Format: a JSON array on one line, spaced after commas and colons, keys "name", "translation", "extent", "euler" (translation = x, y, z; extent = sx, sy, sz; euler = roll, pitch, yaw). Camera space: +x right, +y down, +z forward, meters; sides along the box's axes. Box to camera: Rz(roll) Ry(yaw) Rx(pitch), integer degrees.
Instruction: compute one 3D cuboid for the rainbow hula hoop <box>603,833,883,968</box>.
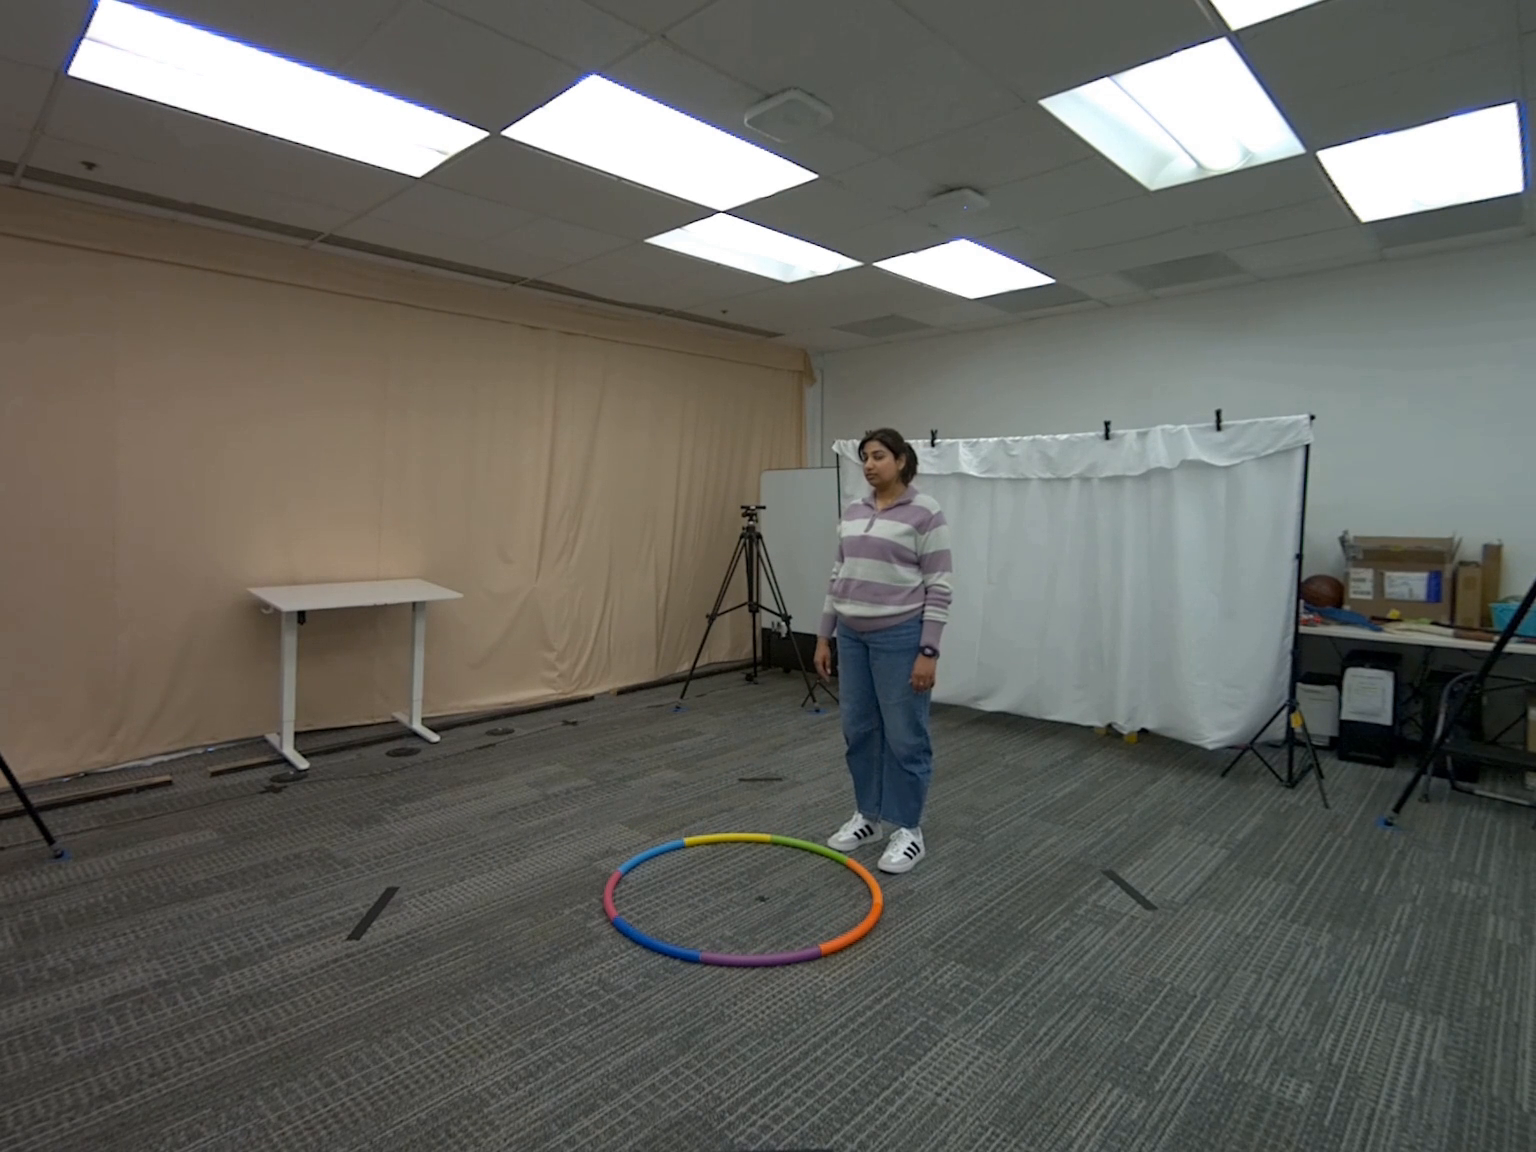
[{"name": "rainbow hula hoop", "translation": [-0.093, 1.114, 3.024], "extent": [0.985, 0.051, 0.989], "euler": [0, 5, -2]}]
